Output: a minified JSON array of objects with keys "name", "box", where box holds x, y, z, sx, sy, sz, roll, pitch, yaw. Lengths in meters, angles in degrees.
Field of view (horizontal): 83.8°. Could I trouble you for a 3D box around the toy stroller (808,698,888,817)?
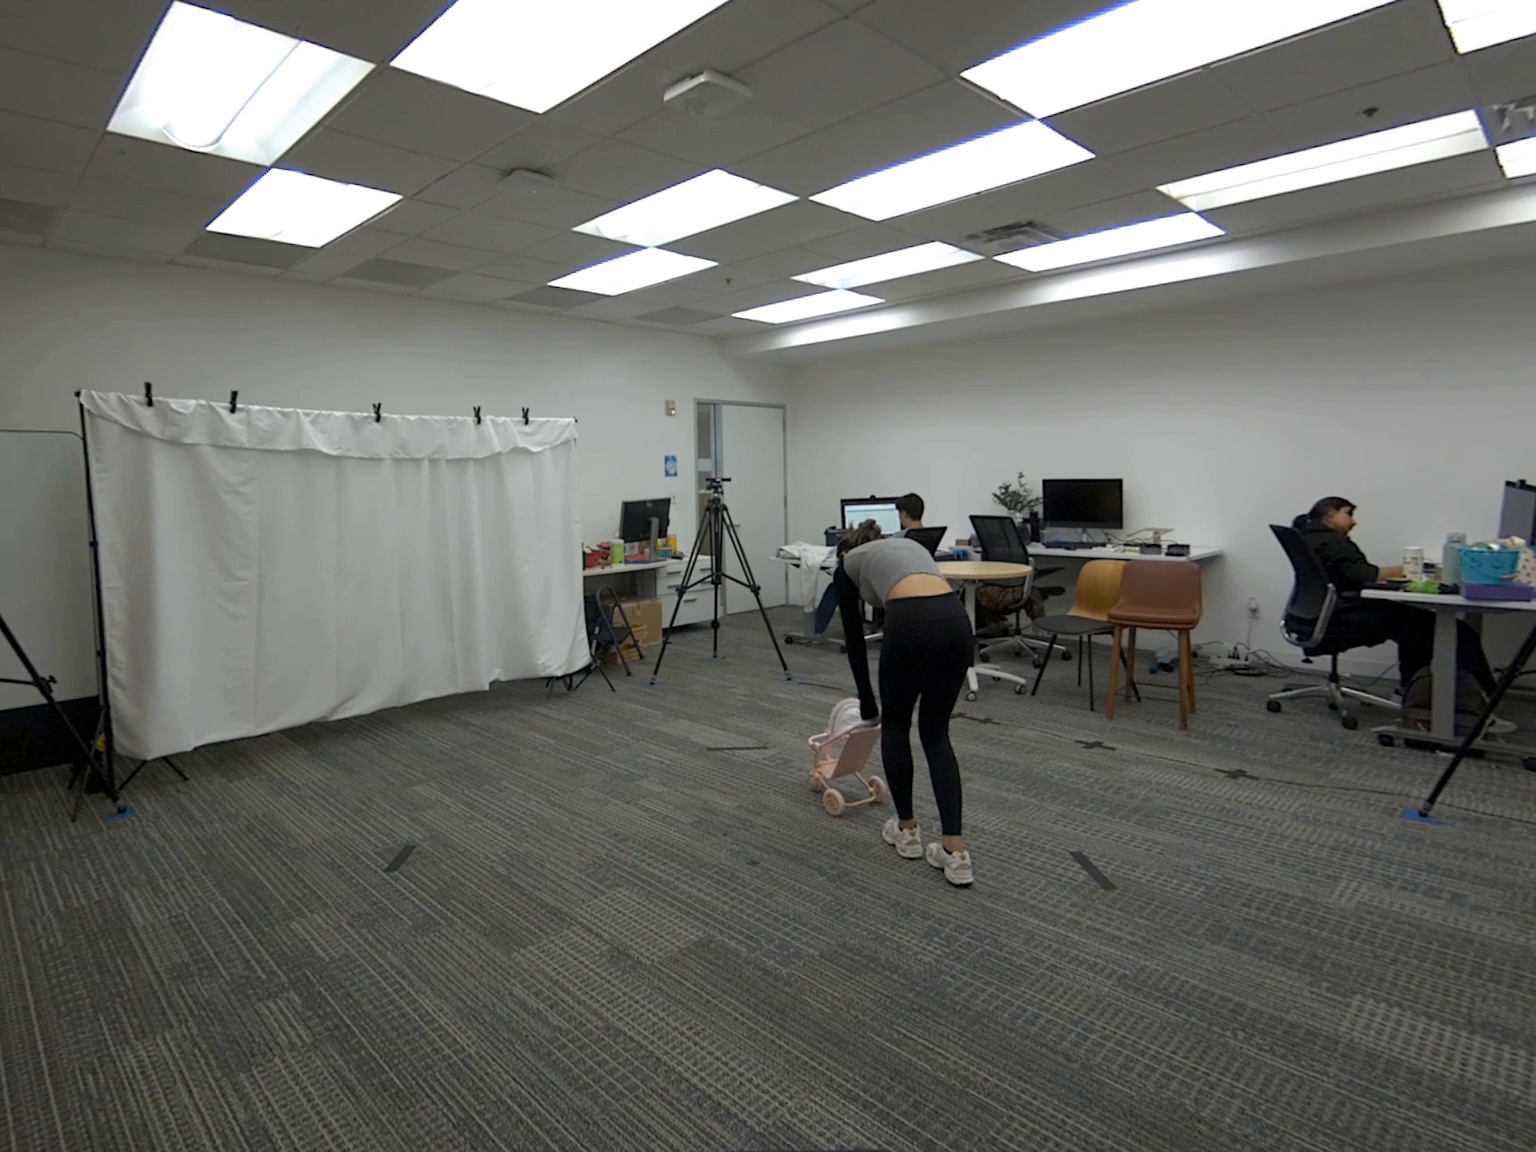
[{"name":"toy stroller","box":[0.333,0.749,3.639,0.274,0.528,0.354,-2,21,-33]}]
